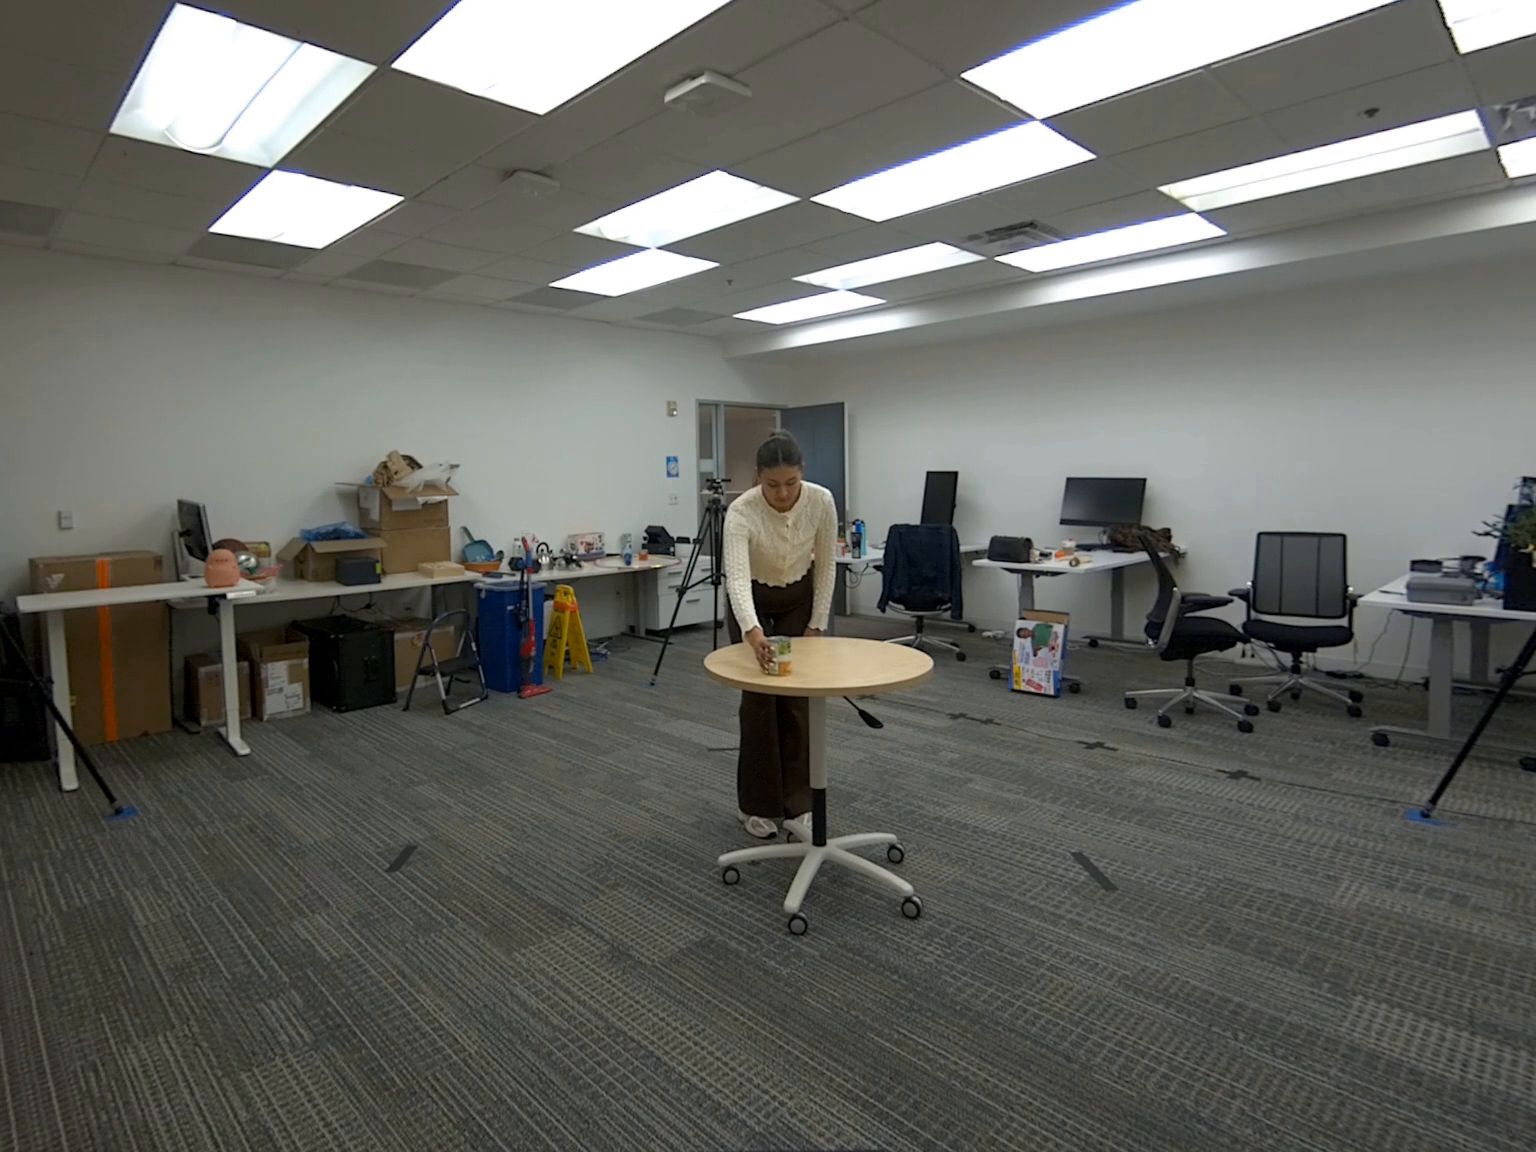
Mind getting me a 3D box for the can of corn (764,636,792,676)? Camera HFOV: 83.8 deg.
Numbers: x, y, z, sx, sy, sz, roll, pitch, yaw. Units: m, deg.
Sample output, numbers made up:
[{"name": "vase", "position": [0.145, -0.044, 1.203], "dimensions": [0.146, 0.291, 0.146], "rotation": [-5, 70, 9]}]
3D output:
[{"name": "can of corn", "position": [0.034, 0.254, 2.696], "dimensions": [0.074, 0.110, 0.074], "rotation": [-2, 5, -1]}]
